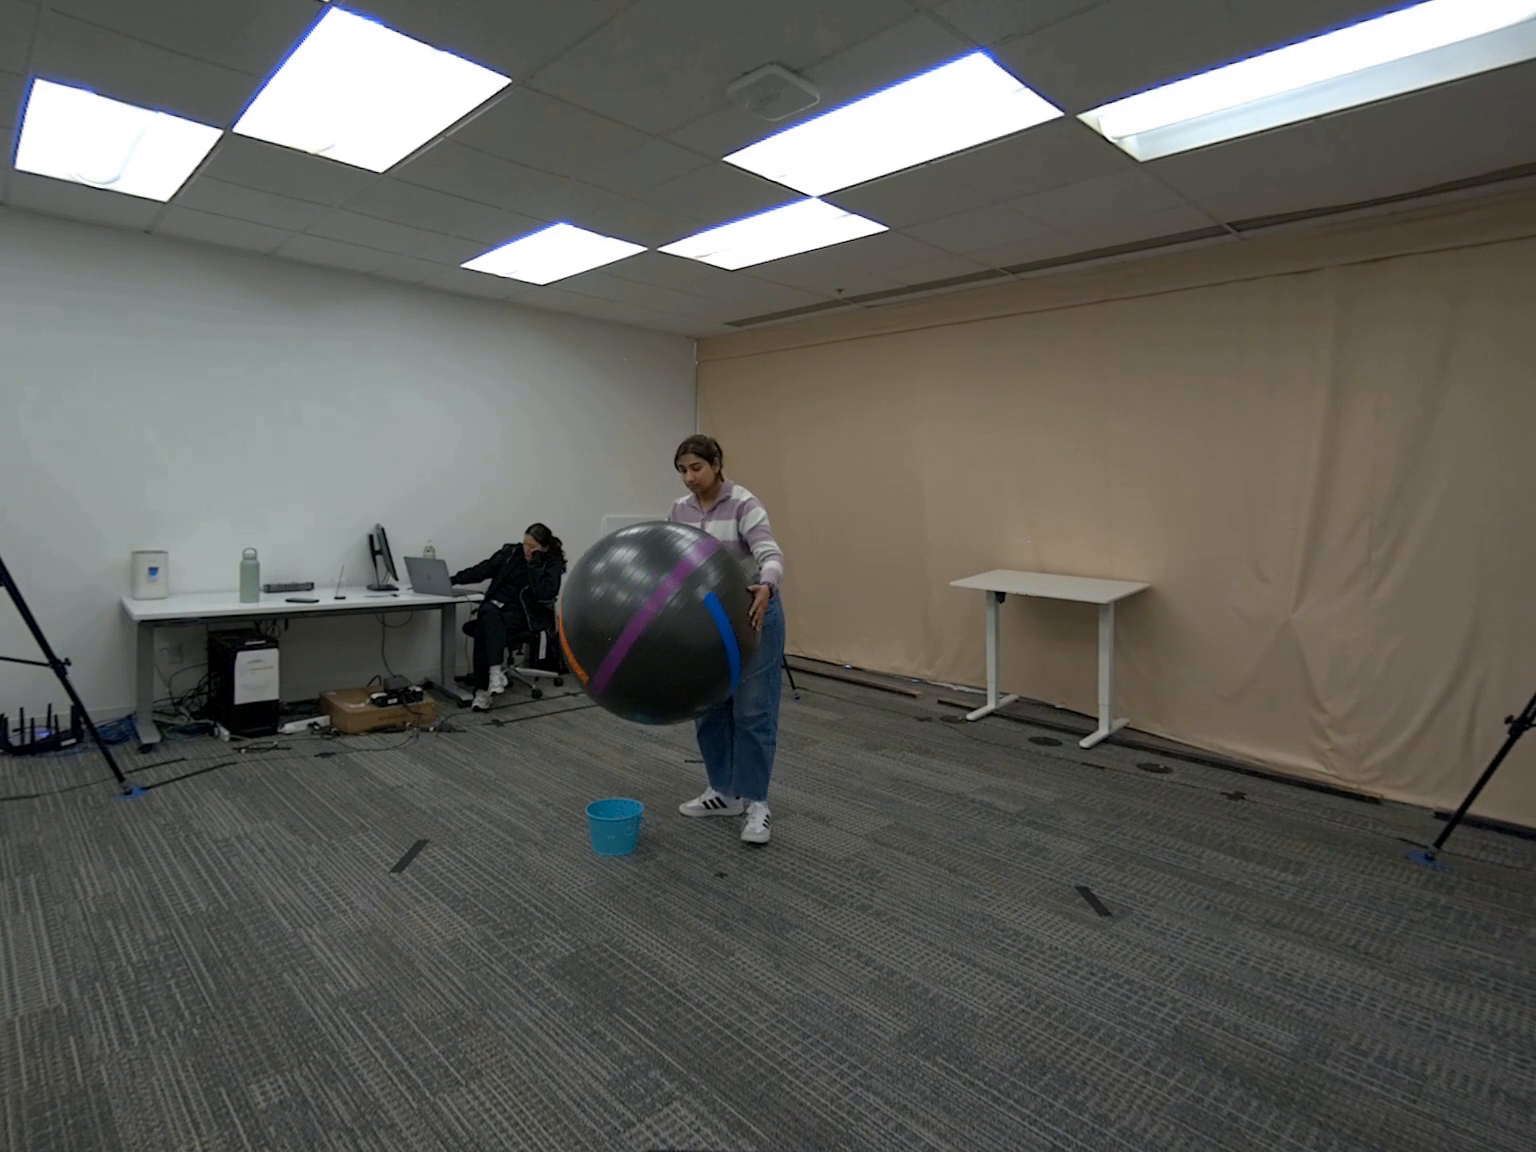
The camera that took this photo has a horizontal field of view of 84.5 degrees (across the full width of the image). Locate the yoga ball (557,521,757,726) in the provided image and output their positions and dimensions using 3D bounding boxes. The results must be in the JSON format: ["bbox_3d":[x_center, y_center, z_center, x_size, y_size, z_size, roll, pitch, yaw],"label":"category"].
[{"bbox_3d":[-0.412,0.184,3.163,0.757,0.756,0.761,1,4,-1],"label":"yoga ball"}]
